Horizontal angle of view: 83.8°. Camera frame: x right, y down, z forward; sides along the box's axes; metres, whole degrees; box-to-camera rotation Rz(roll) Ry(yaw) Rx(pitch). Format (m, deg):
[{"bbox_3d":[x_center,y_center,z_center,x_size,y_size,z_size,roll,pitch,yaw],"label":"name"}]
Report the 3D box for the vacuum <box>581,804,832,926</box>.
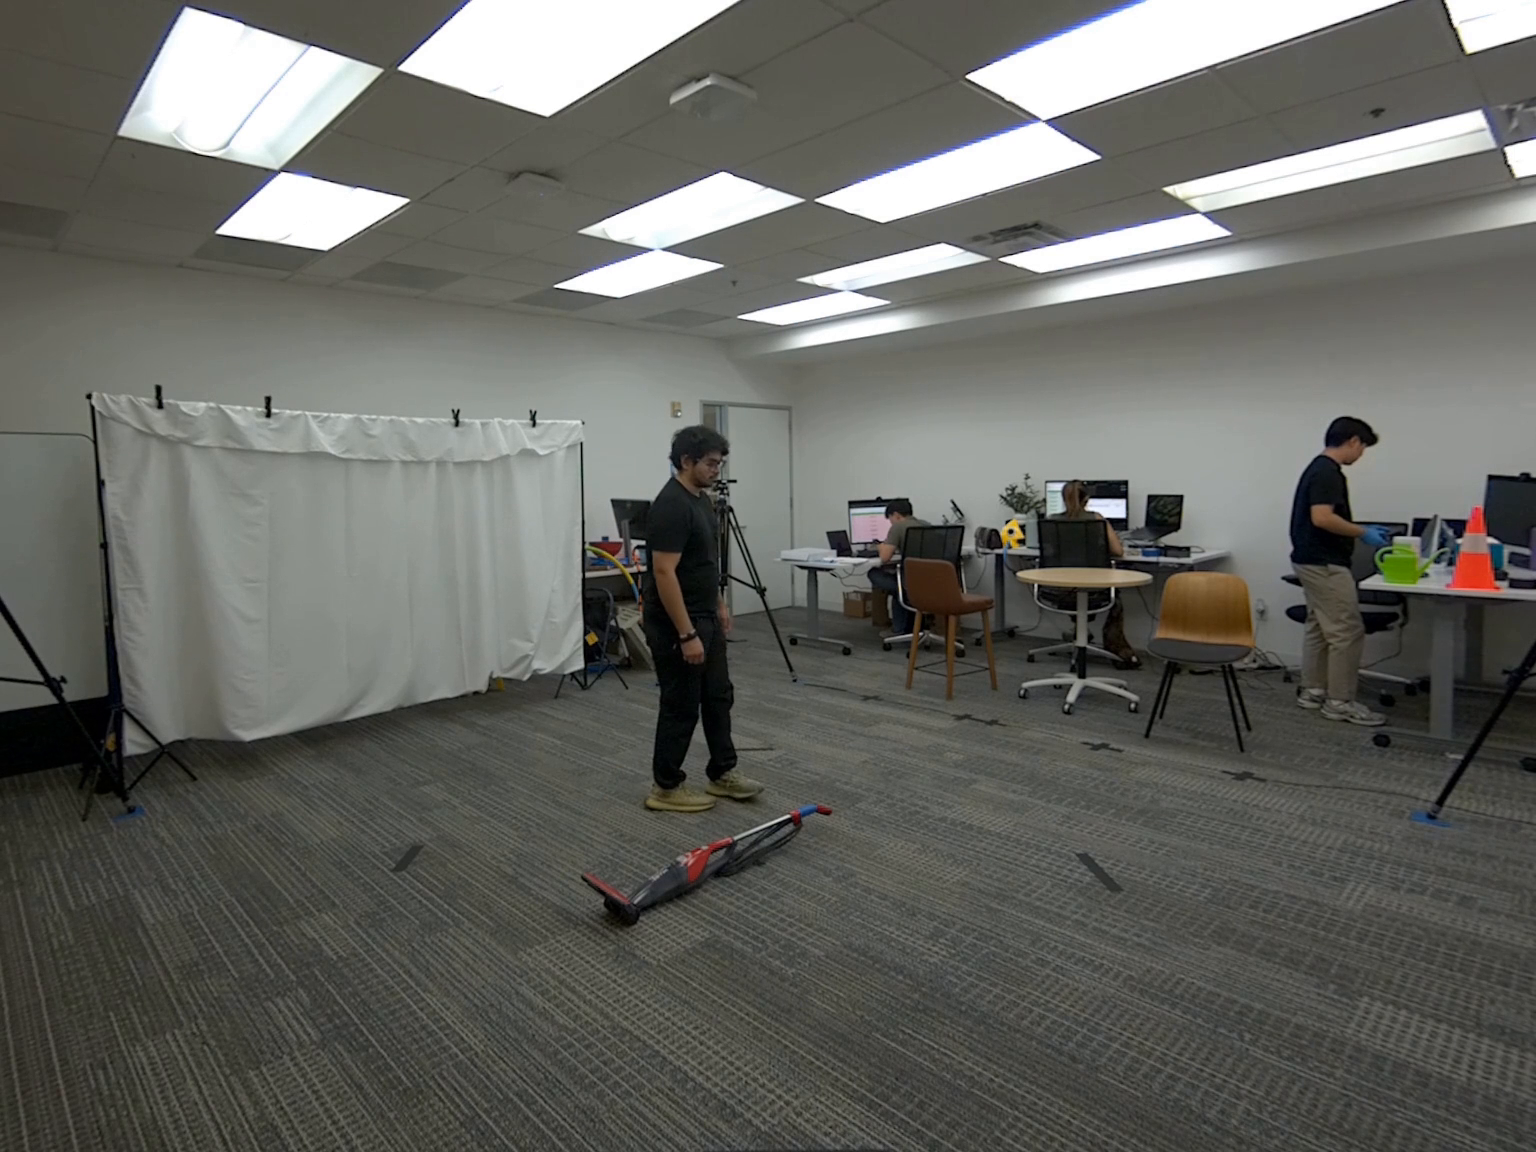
[{"bbox_3d":[-0.128,0.994,3.063,1.021,0.143,0.260,-6,8,-43],"label":"vacuum"}]
